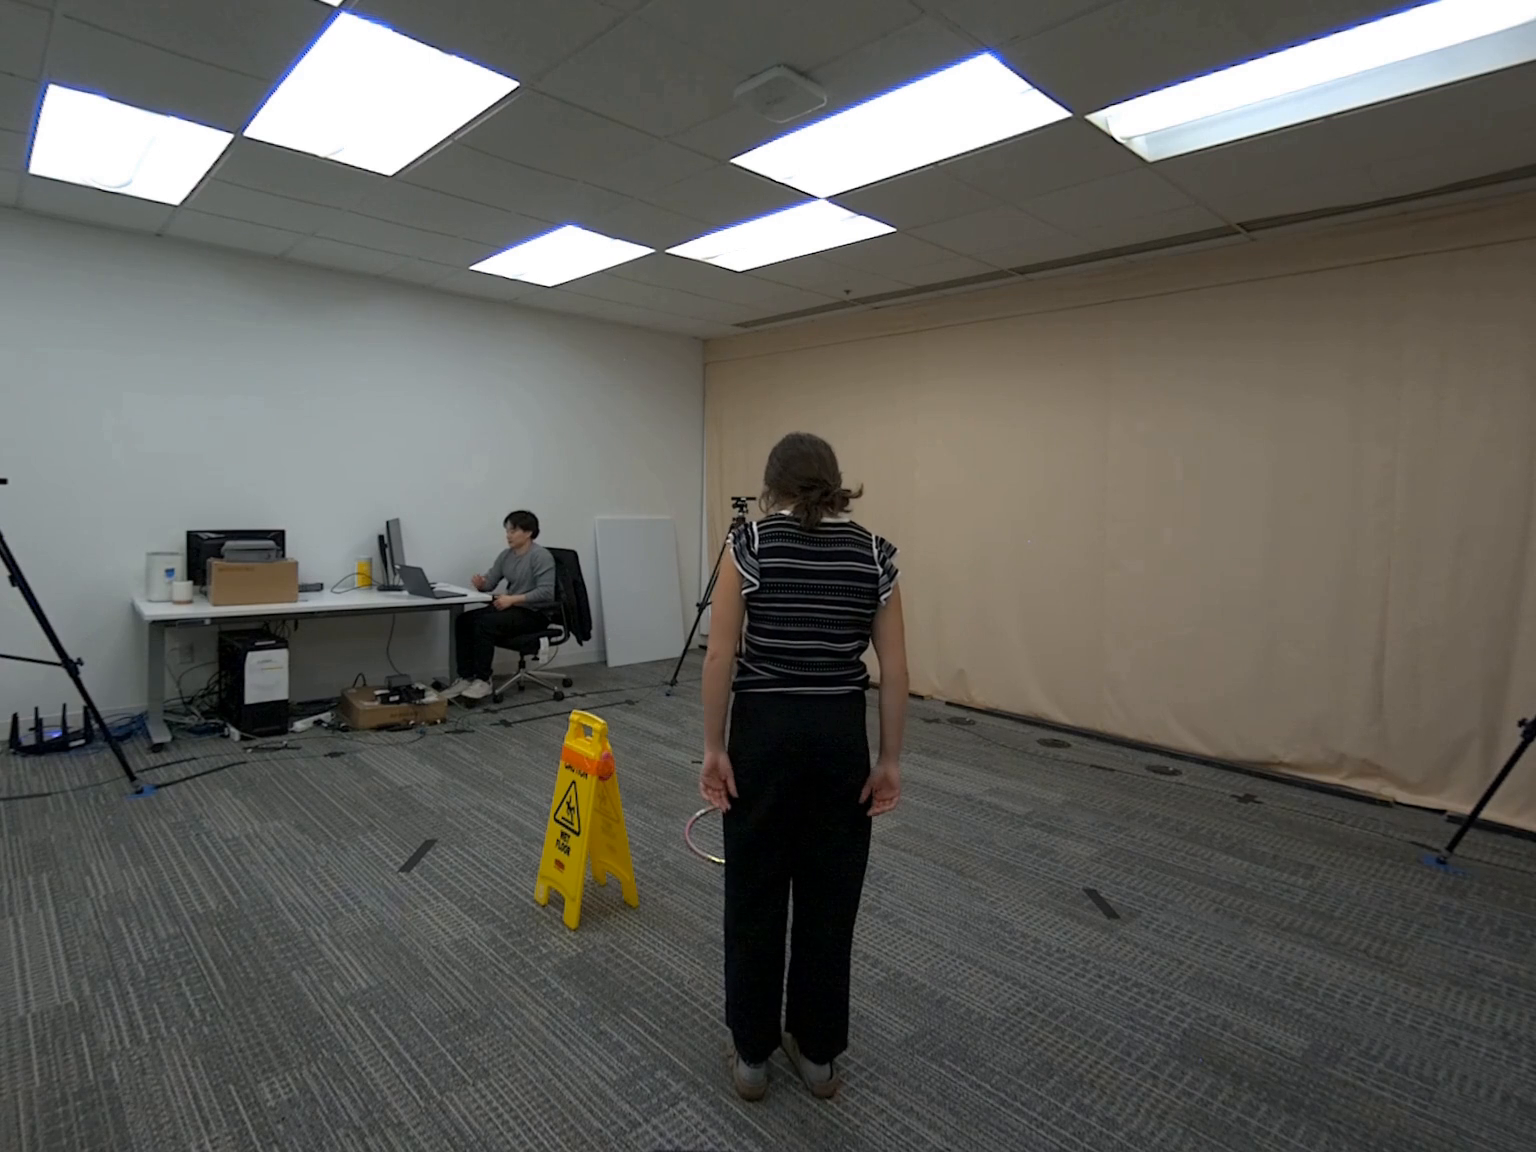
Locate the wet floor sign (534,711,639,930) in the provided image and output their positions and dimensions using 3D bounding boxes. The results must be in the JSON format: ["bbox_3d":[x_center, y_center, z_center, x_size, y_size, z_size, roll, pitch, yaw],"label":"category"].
[{"bbox_3d":[-0.619,0.795,2.858,0.283,0.644,0.289,-1,4,-42],"label":"wet floor sign"}]
